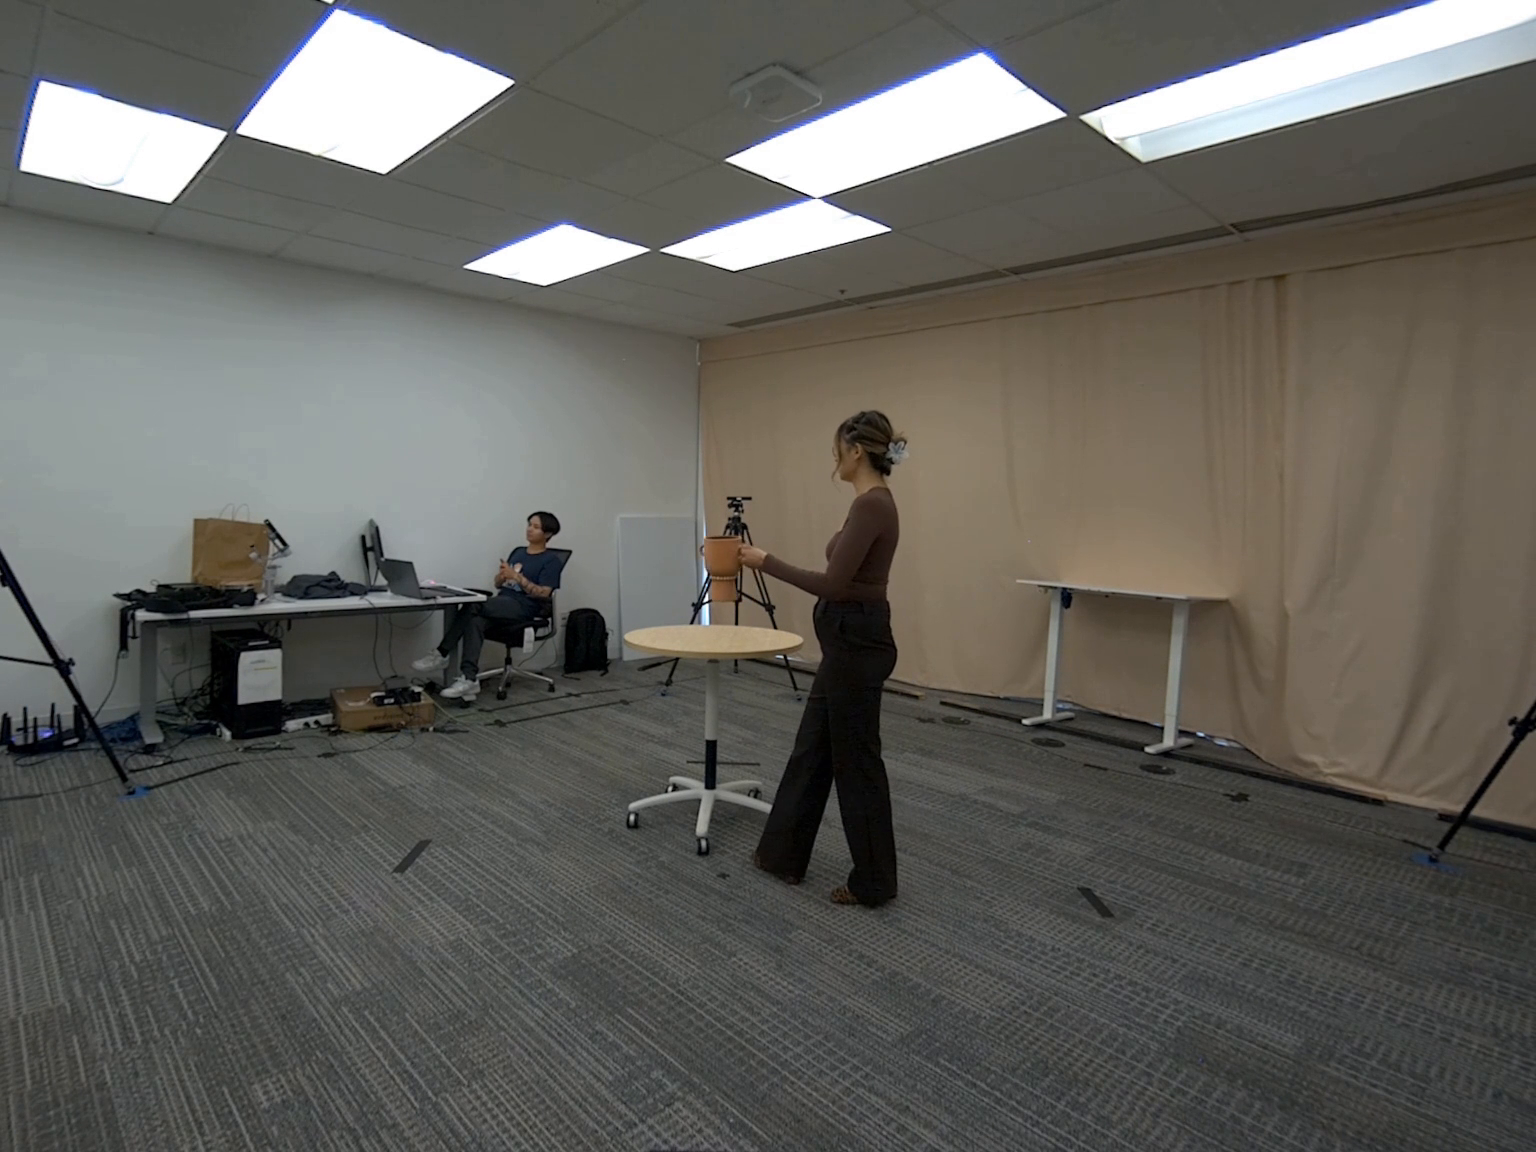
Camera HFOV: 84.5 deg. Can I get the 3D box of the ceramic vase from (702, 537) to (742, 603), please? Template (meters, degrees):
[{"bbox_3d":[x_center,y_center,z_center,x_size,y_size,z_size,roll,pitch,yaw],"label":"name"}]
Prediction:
[{"bbox_3d":[-0.157,-0.026,2.952,0.132,0.219,0.162,-3,7,-21],"label":"ceramic vase"}]
